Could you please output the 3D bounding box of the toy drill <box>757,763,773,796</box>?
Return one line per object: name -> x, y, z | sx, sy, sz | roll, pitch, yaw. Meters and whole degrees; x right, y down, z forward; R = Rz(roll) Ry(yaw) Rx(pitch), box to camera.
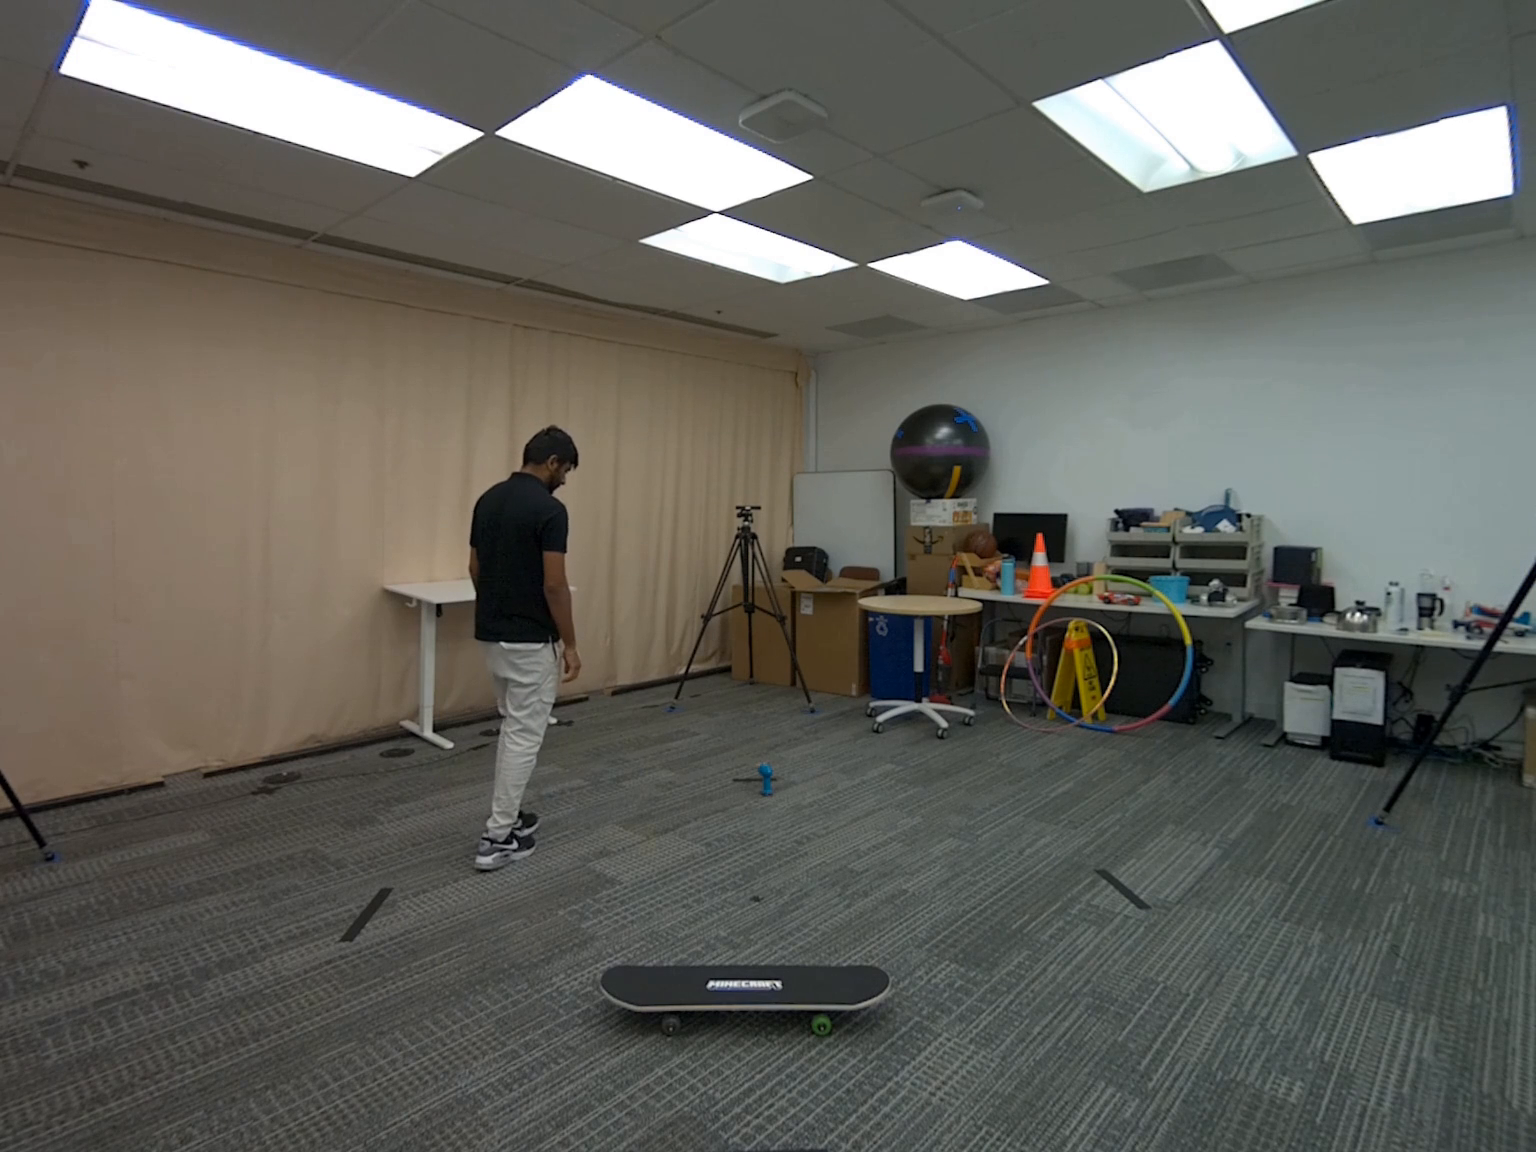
toy drill -> -0.021, 0.985, 4.120 | 0.060, 0.146, 0.173 | 0, -1, -21
